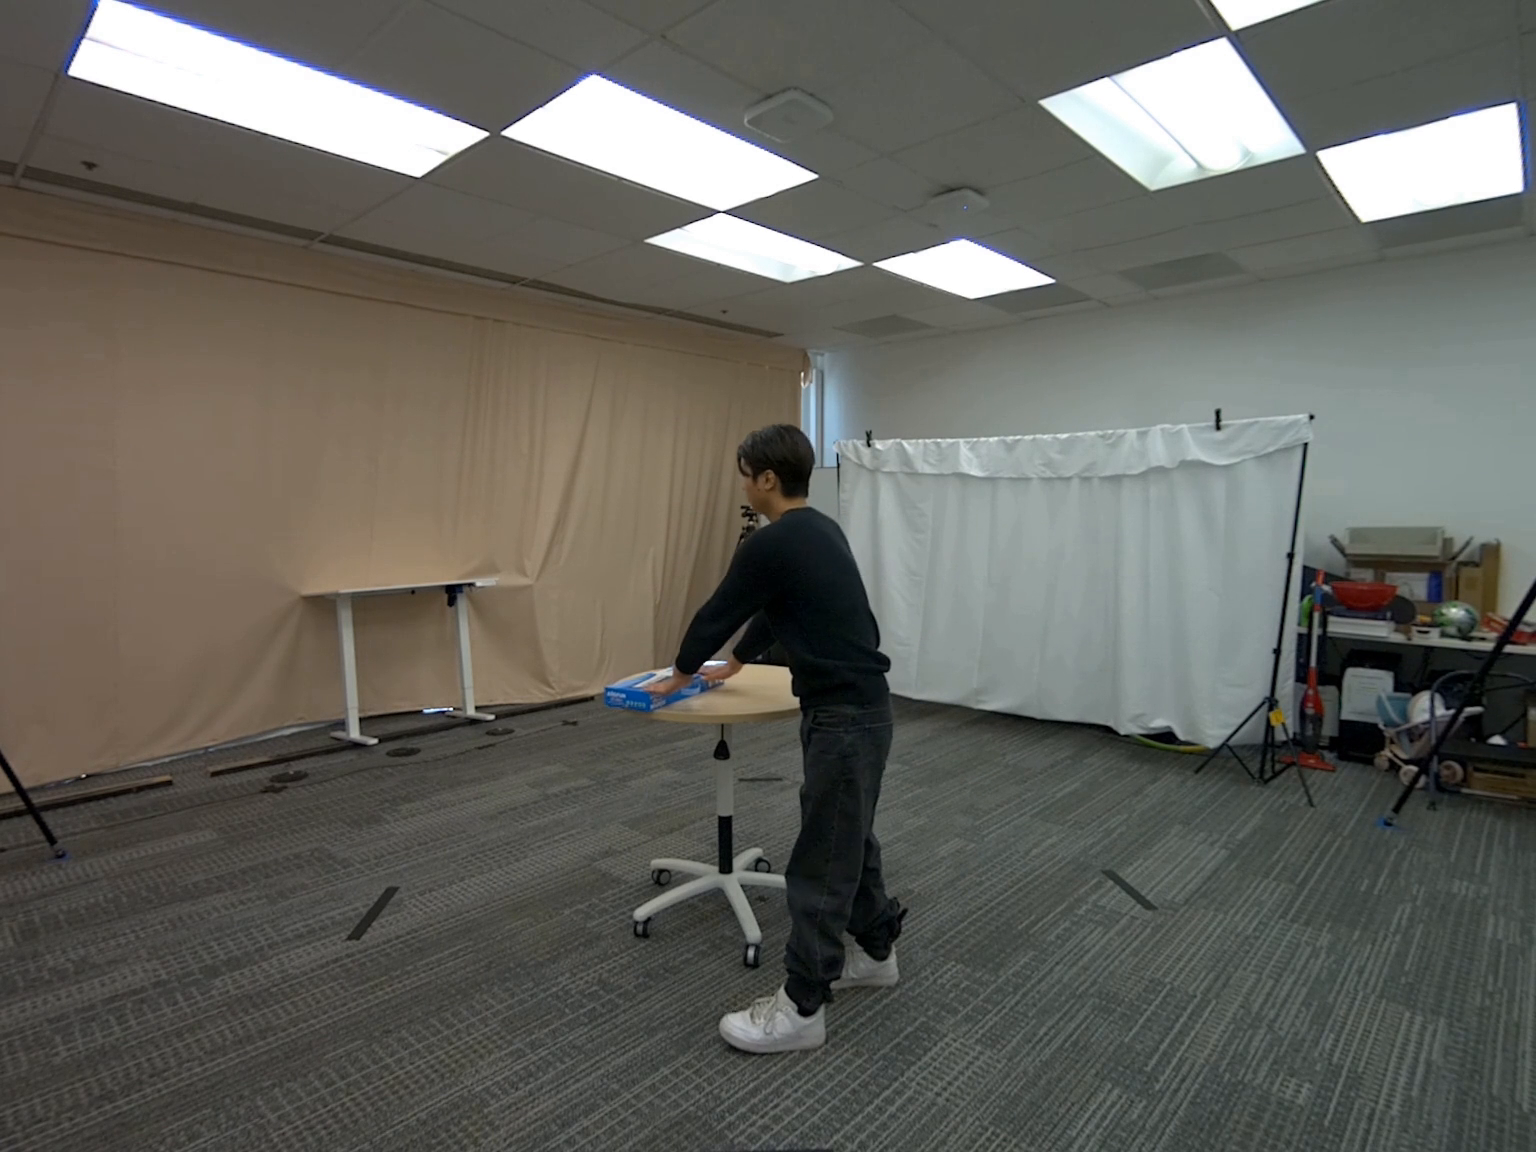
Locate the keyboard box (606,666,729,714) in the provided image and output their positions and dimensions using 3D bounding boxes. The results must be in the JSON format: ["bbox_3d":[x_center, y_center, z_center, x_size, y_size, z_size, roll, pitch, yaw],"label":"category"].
[{"bbox_3d":[-0.316,0.357,2.738,0.181,0.059,0.425,2,6,29],"label":"keyboard box"}]
